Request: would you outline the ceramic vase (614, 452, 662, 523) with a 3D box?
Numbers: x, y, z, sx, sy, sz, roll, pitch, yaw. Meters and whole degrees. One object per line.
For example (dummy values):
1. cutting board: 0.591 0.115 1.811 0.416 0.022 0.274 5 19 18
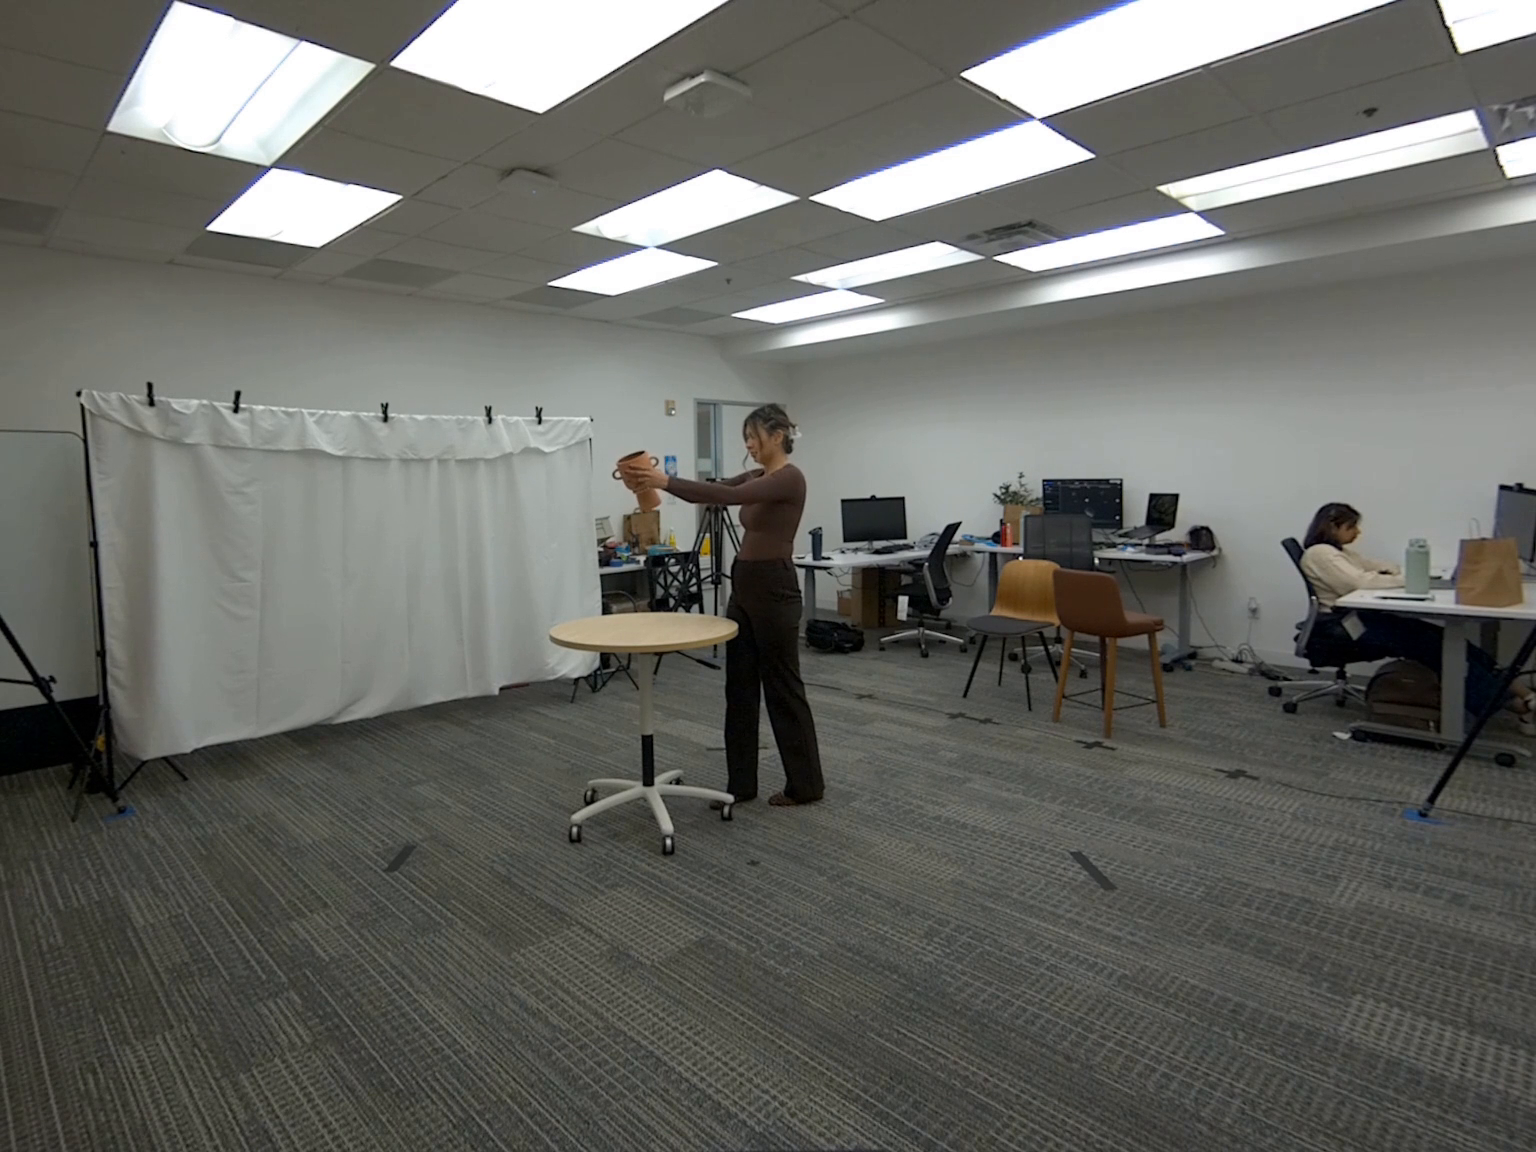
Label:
1. ceramic vase: -0.506 -0.380 3.449 0.163 0.215 0.134 -4 26 40
